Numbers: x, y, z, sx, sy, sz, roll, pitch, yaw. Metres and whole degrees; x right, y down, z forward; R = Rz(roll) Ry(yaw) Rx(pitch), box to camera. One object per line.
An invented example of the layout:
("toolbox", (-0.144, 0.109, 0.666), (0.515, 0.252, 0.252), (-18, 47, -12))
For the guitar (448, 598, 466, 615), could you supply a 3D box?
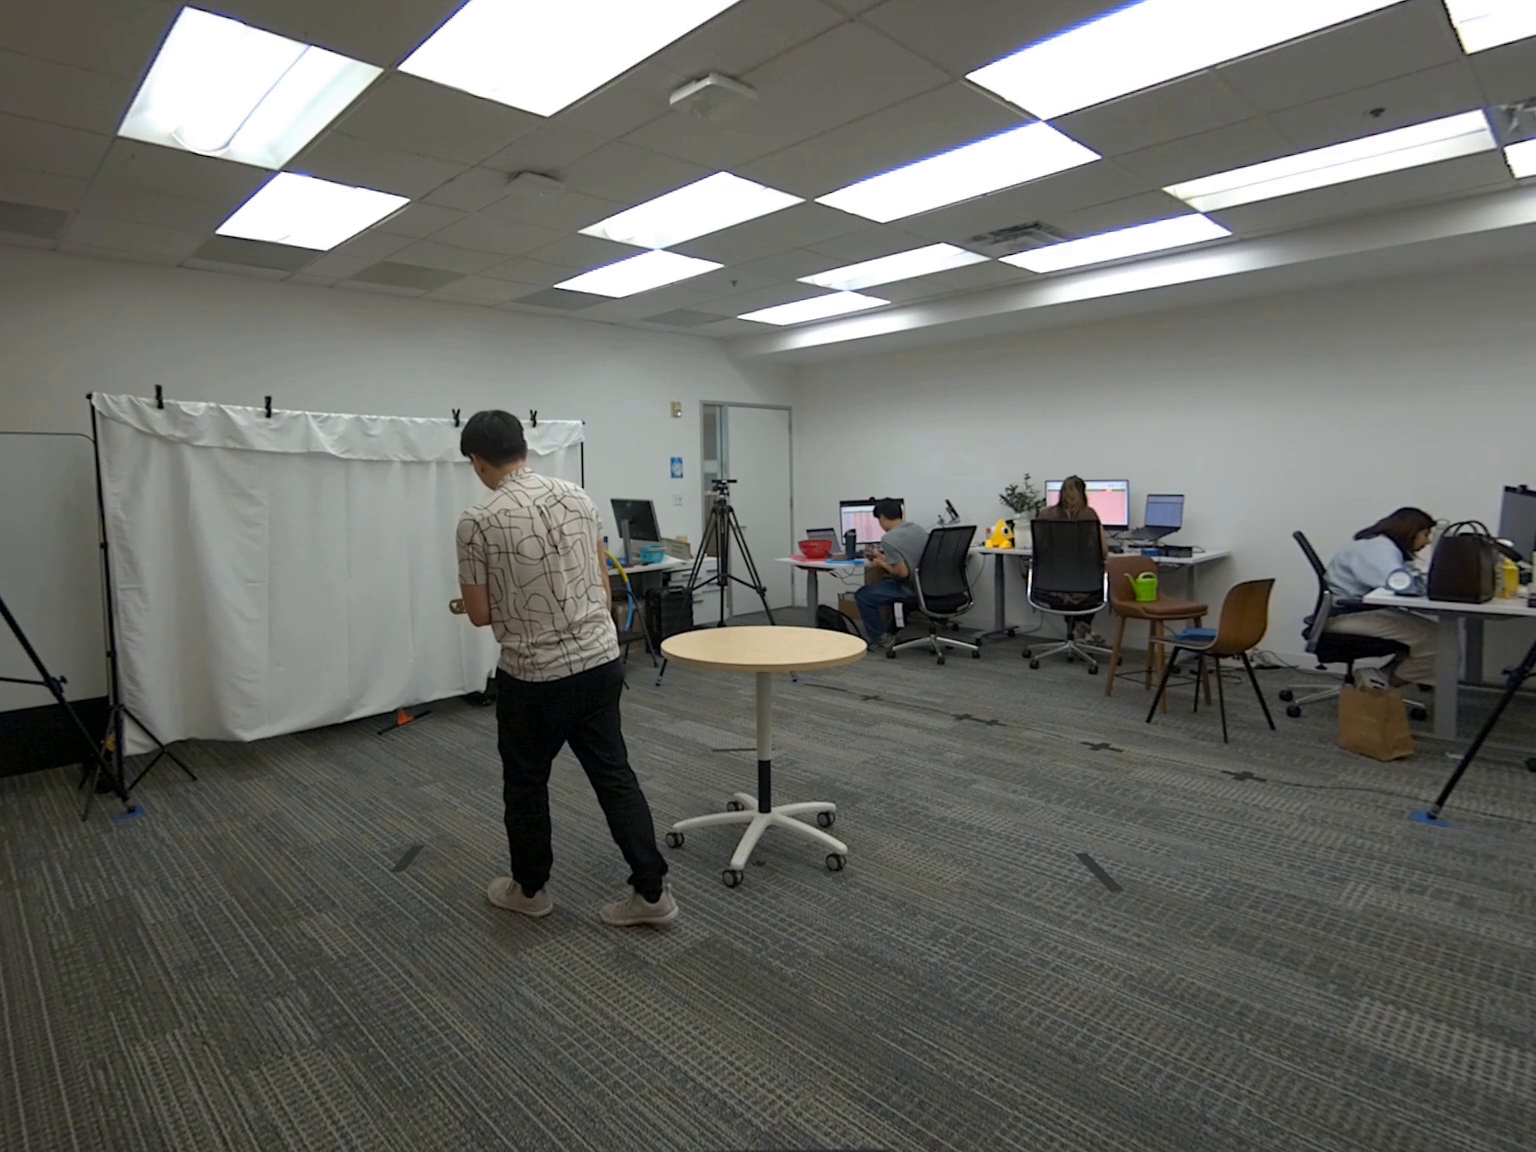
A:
("guitar", (-0.824, 0.095, 2.896), (0.499, 0.190, 0.071), (-17, 14, 5))
